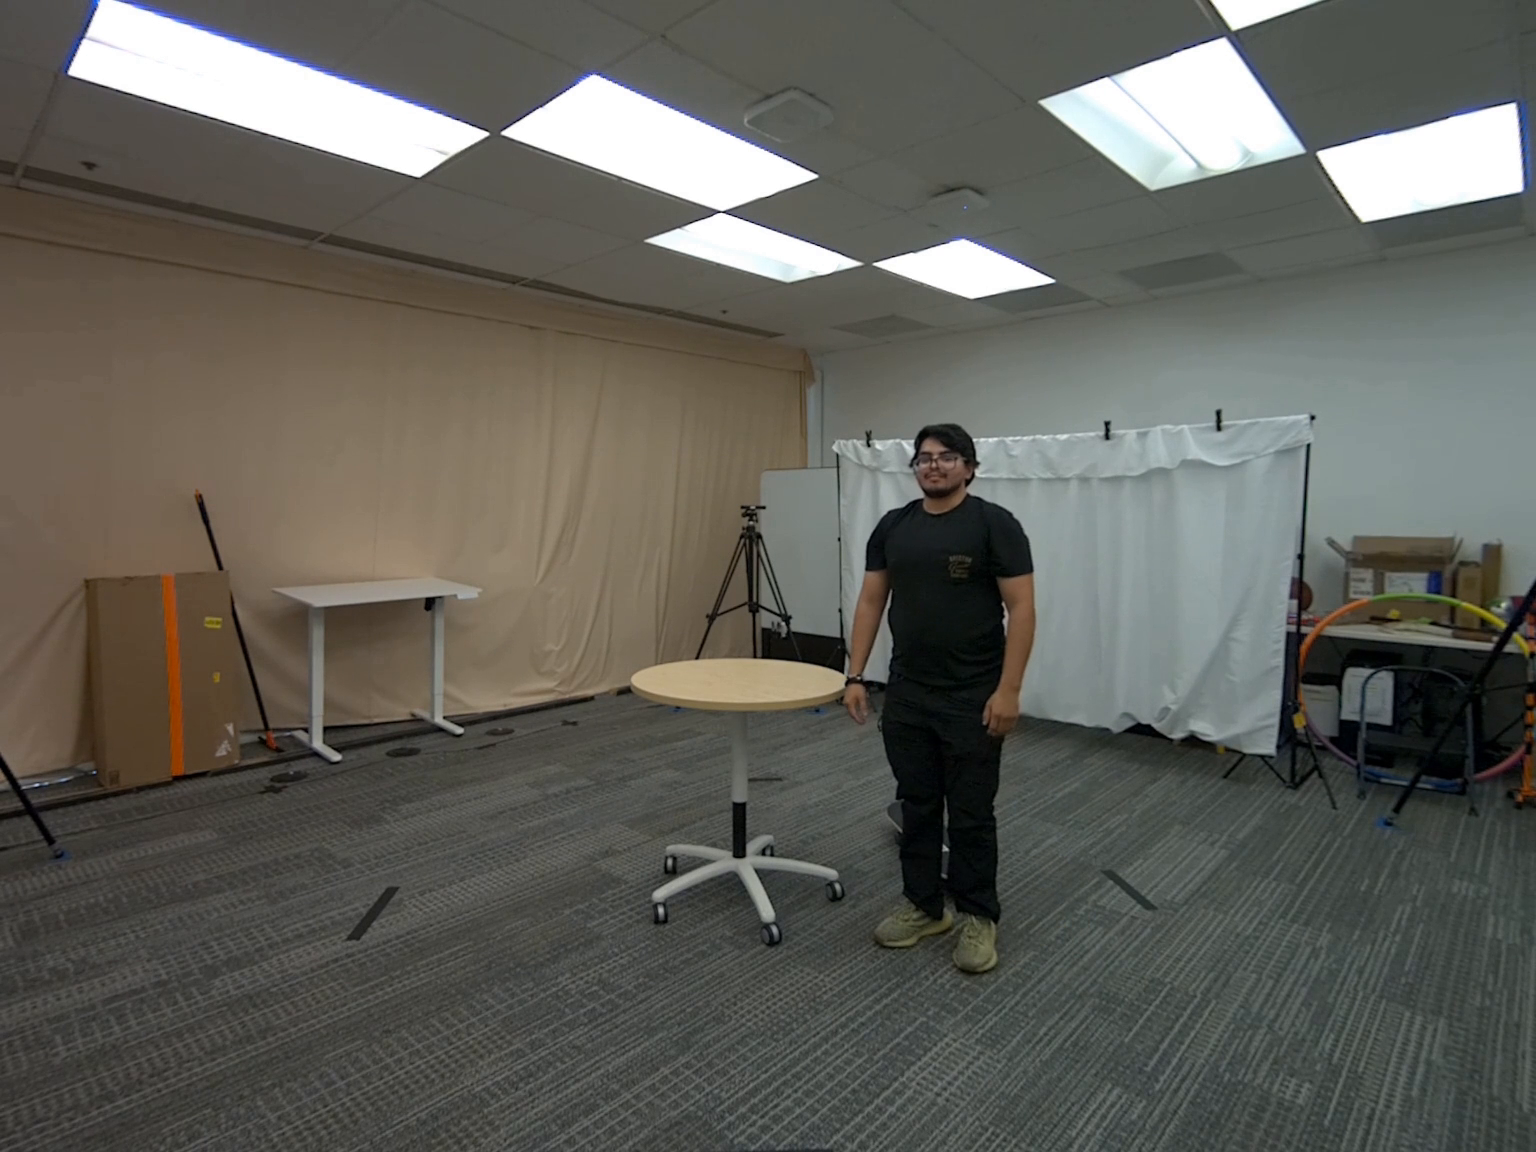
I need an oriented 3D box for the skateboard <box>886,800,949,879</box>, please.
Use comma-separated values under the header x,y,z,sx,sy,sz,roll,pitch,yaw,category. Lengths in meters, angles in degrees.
x,y,z,sx,sy,sz,roll,pitch,yaw,category
0.654,1.062,3.277,0.192,0.110,0.793,0,4,-9,skateboard
